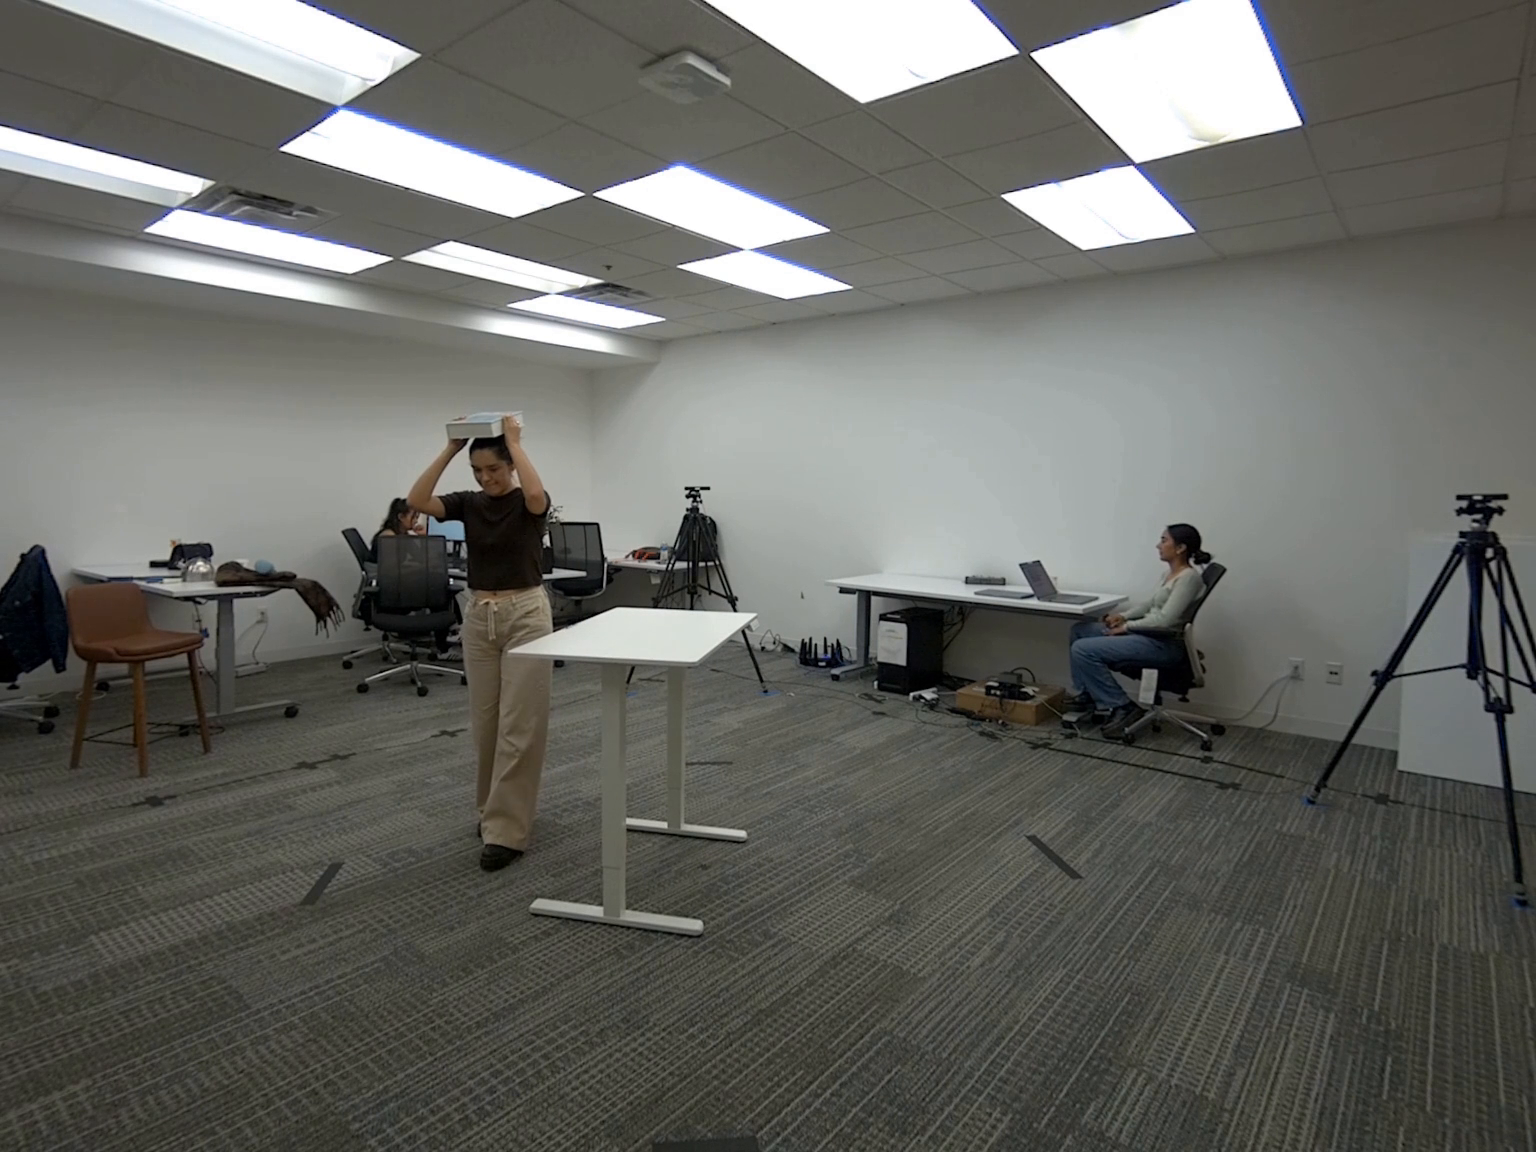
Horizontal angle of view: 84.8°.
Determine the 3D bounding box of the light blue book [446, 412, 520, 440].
[{"bbox_3d":[-1.073,-0.577,3.215,0.194,0.058,0.262,1,19,10],"label":"light blue book"}]
